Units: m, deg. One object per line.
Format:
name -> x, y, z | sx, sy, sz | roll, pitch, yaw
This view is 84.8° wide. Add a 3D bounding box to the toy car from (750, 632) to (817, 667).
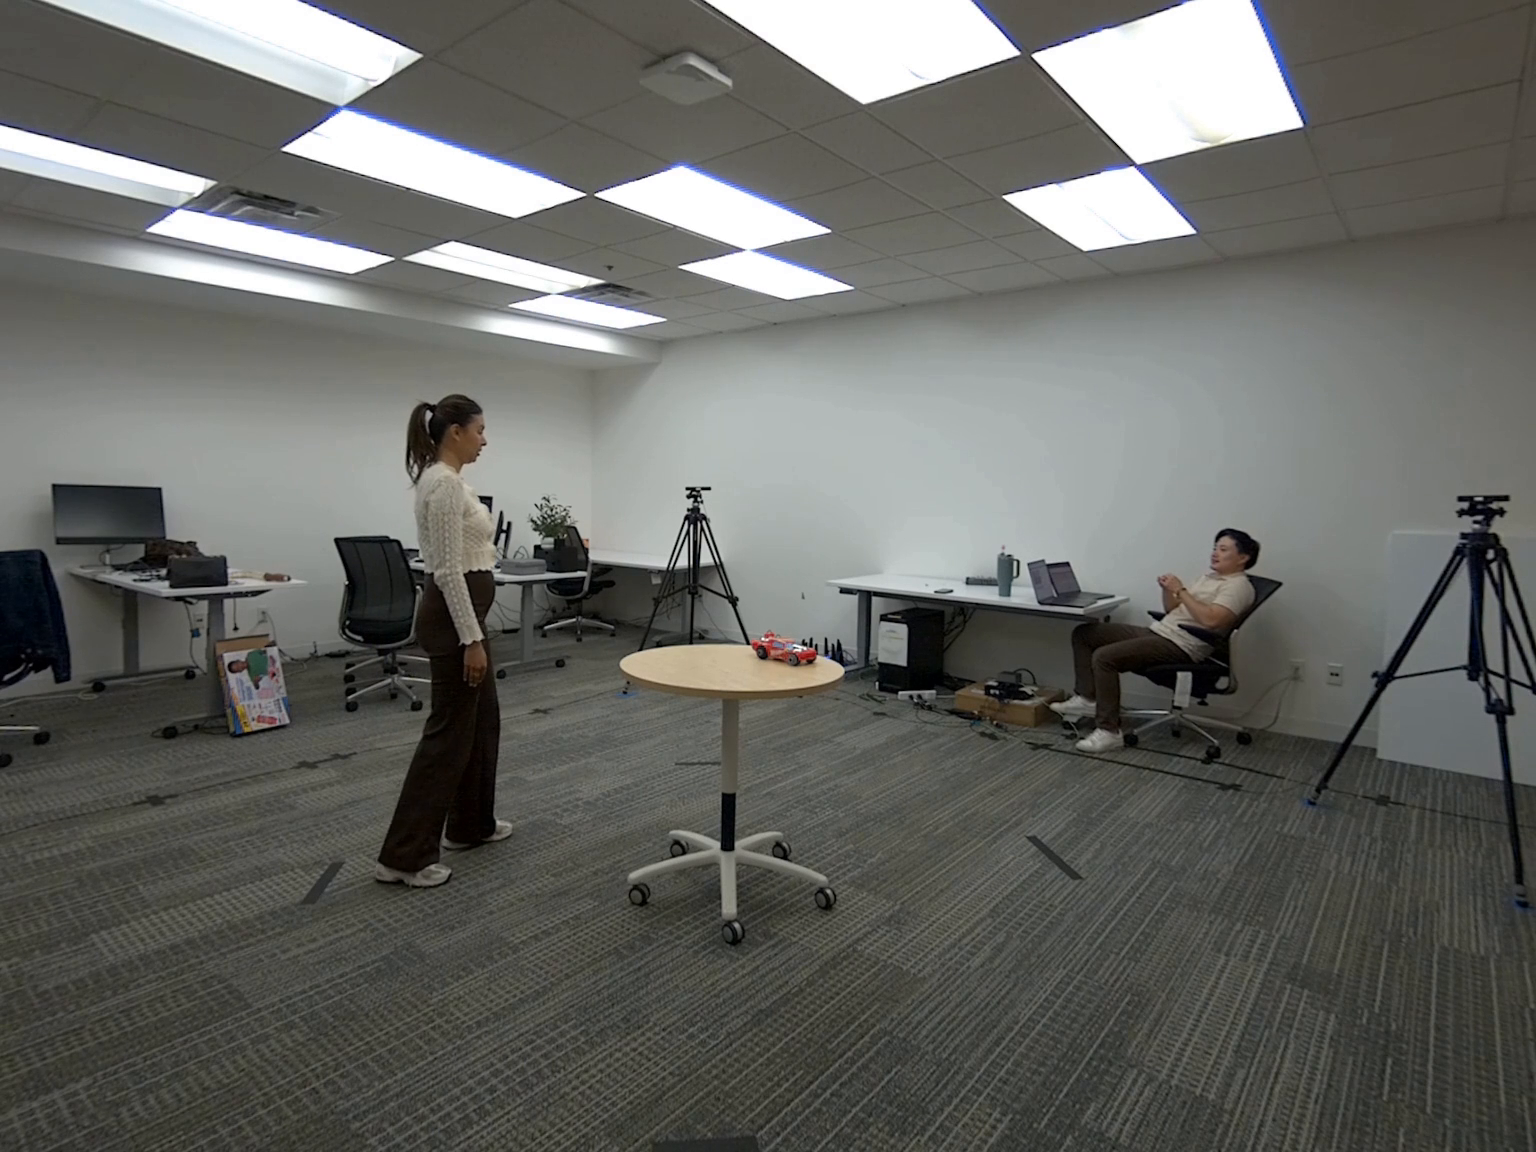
toy car -> 0.044, 0.267, 3.028 | 0.126, 0.082, 0.265 | -2, 17, -45
